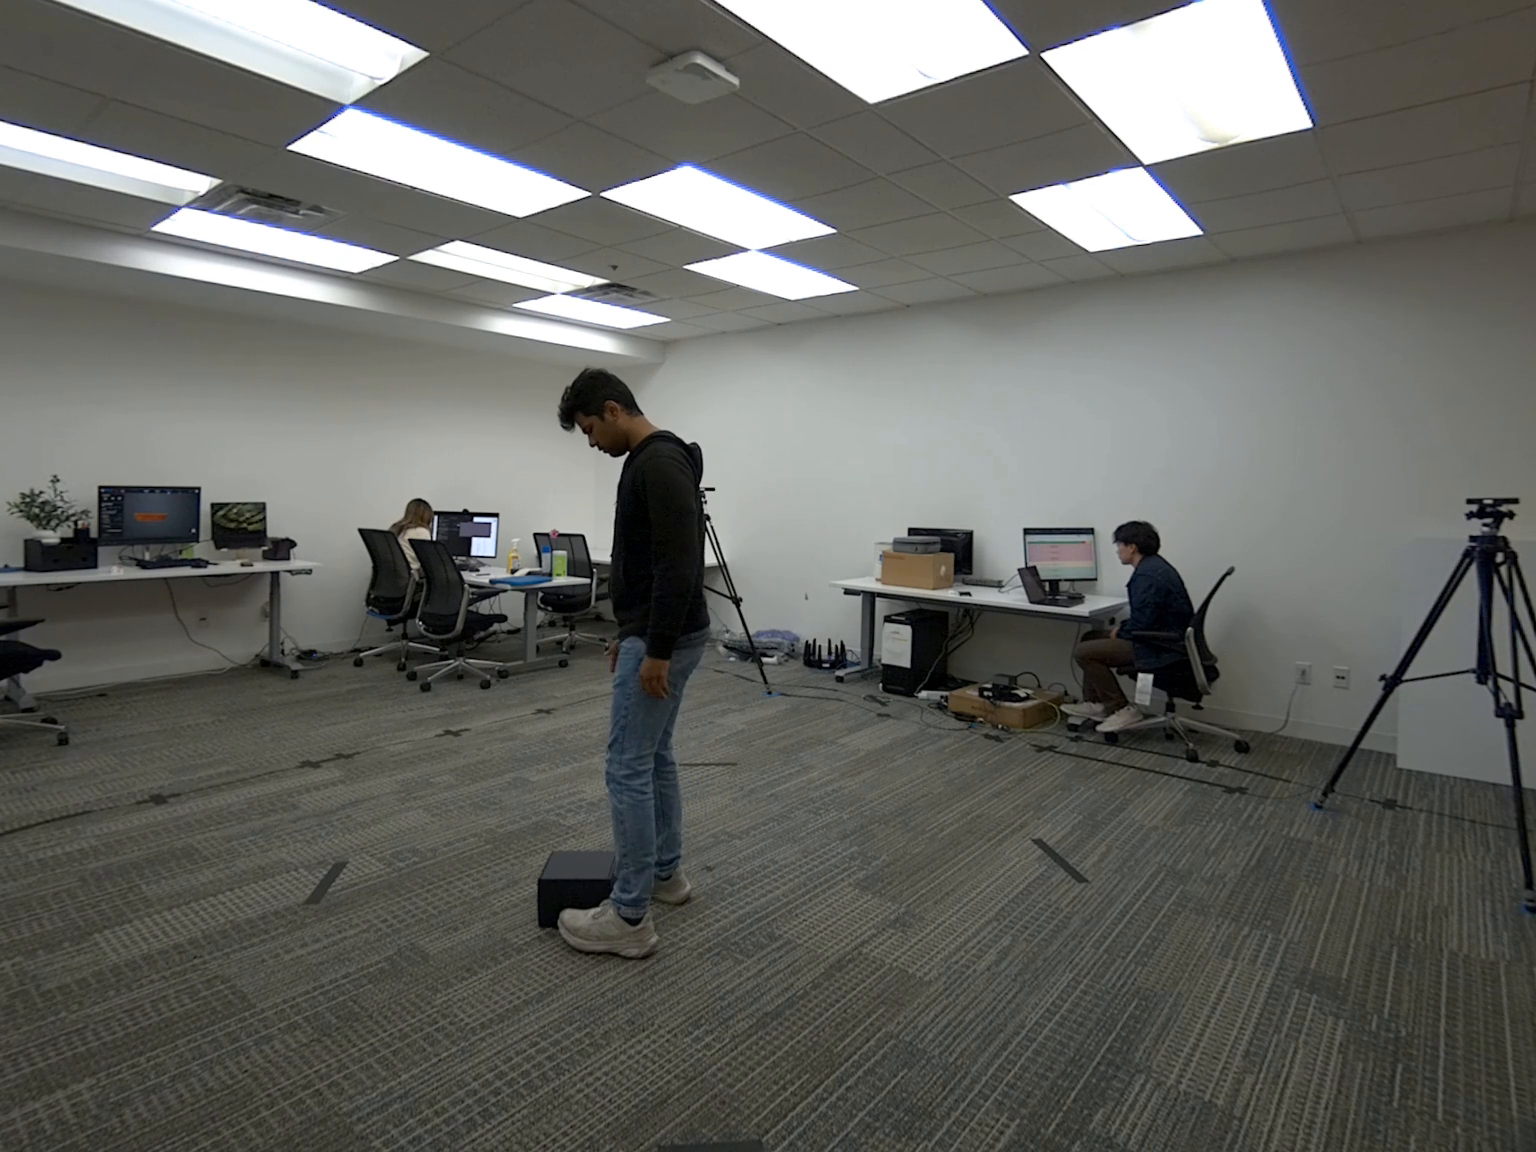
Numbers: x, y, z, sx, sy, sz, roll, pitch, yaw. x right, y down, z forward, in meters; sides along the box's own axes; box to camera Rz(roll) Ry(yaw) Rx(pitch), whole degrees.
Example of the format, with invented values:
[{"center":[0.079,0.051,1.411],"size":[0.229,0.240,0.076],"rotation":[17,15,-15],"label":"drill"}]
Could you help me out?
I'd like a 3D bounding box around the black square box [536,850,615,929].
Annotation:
[{"center":[-0.624,1.007,2.766],"size":[0.228,0.155,0.218],"rotation":[1,5,-1],"label":"black square box"}]
